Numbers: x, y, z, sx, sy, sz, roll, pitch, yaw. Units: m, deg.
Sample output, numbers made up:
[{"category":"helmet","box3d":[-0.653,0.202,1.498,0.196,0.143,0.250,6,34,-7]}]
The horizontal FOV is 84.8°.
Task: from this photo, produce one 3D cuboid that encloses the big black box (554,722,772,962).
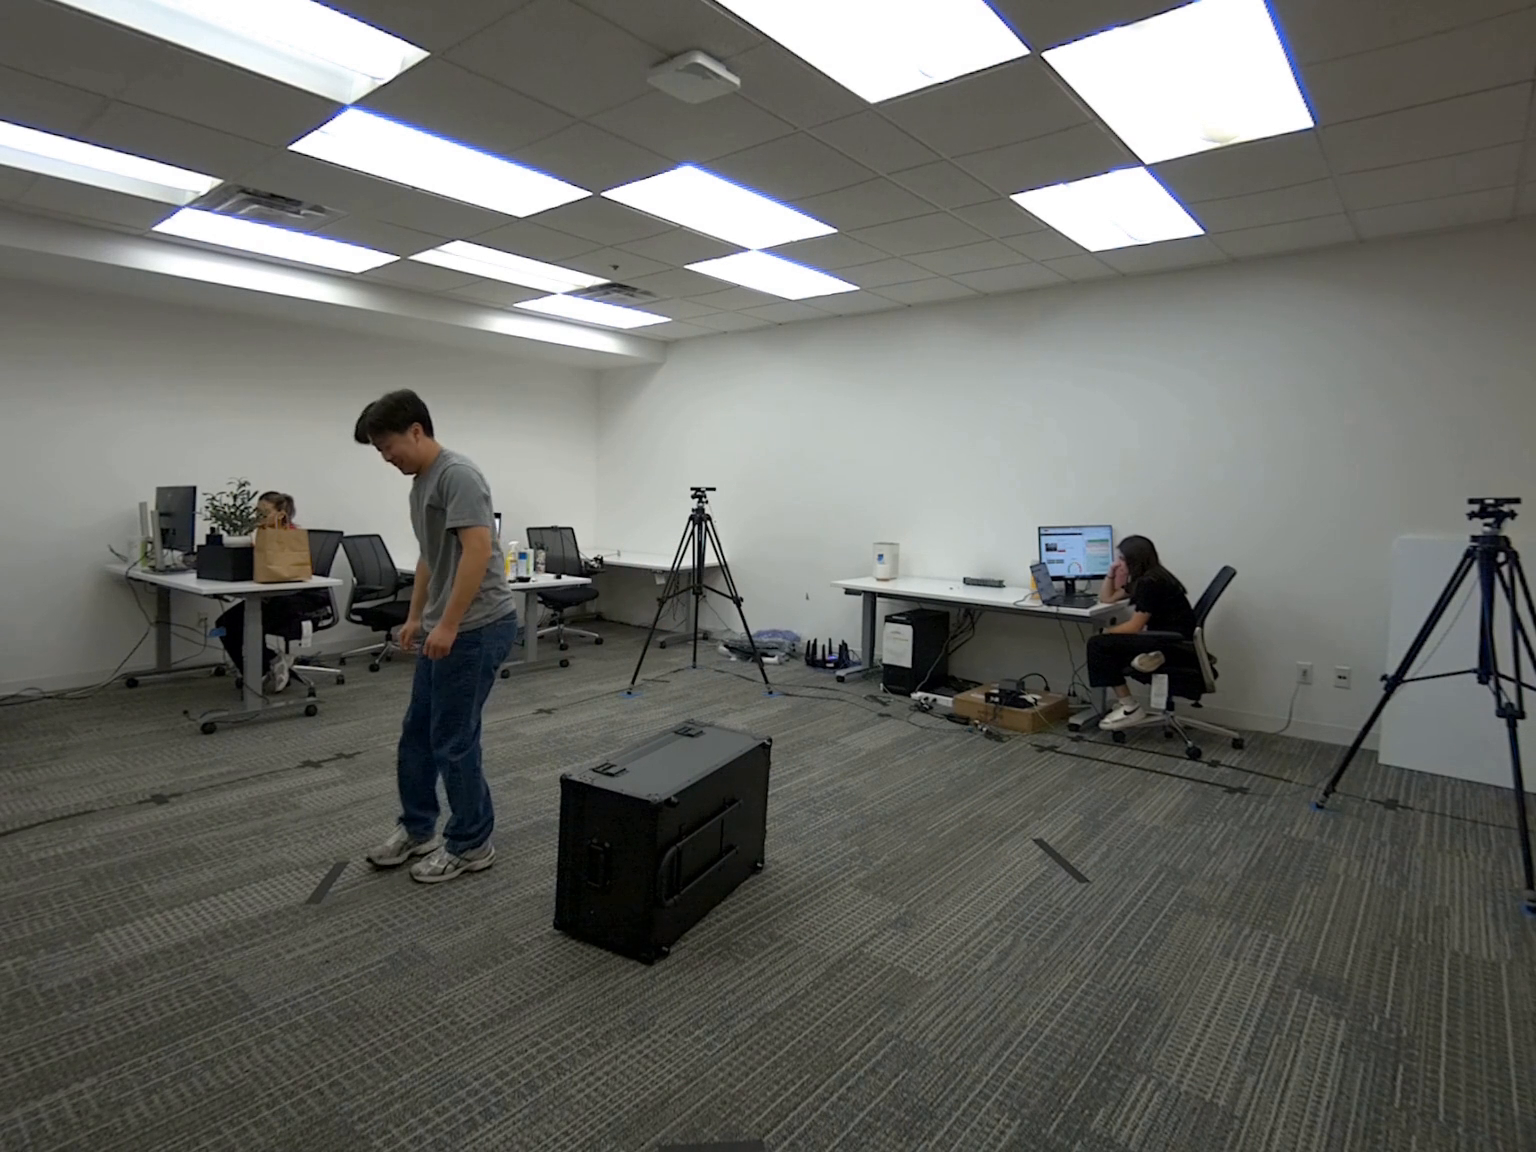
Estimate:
[{"category":"big black box","box3d":[-0.306,0.829,2.885,0.407,0.519,0.842,6,6,25]}]
